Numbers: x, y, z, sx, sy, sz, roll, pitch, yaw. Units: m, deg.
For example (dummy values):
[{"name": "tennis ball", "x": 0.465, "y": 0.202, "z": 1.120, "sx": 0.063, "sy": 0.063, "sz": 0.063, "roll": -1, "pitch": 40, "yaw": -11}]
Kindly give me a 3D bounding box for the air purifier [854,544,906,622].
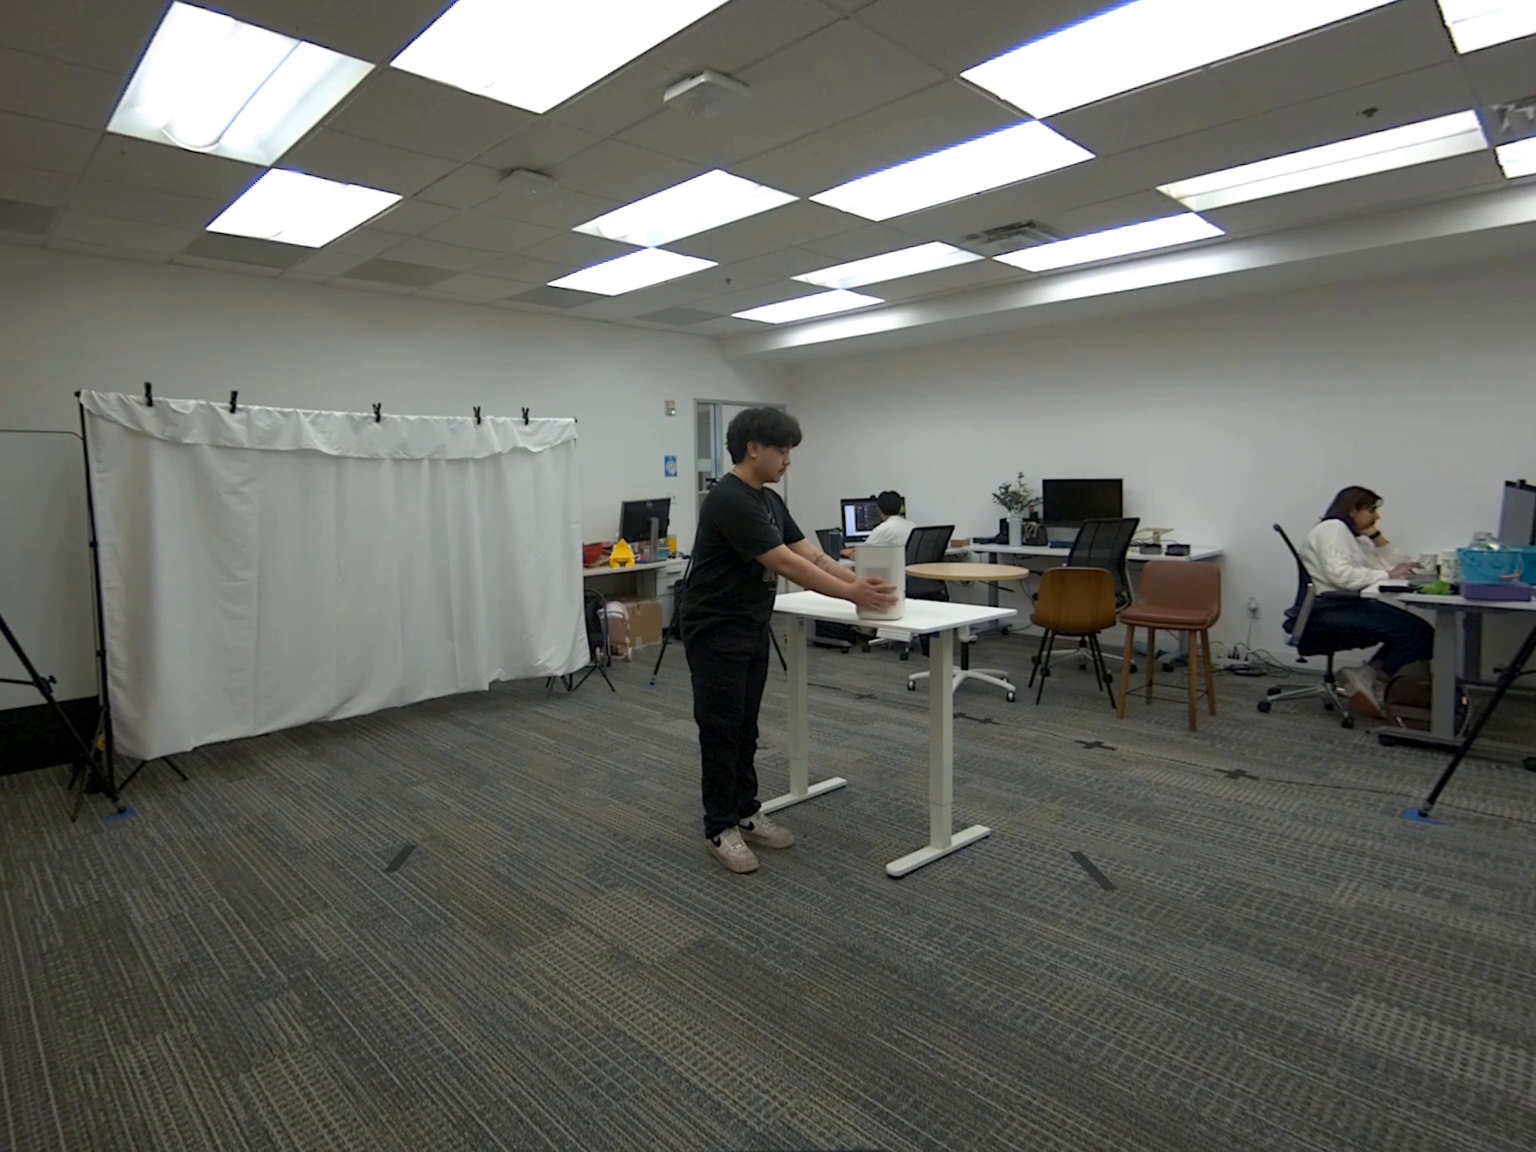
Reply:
[{"name": "air purifier", "x": 0.404, "y": 0.018, "z": 3.071, "sx": 0.174, "sy": 0.265, "sz": 0.169, "roll": 0, "pitch": 3, "yaw": 15}]
